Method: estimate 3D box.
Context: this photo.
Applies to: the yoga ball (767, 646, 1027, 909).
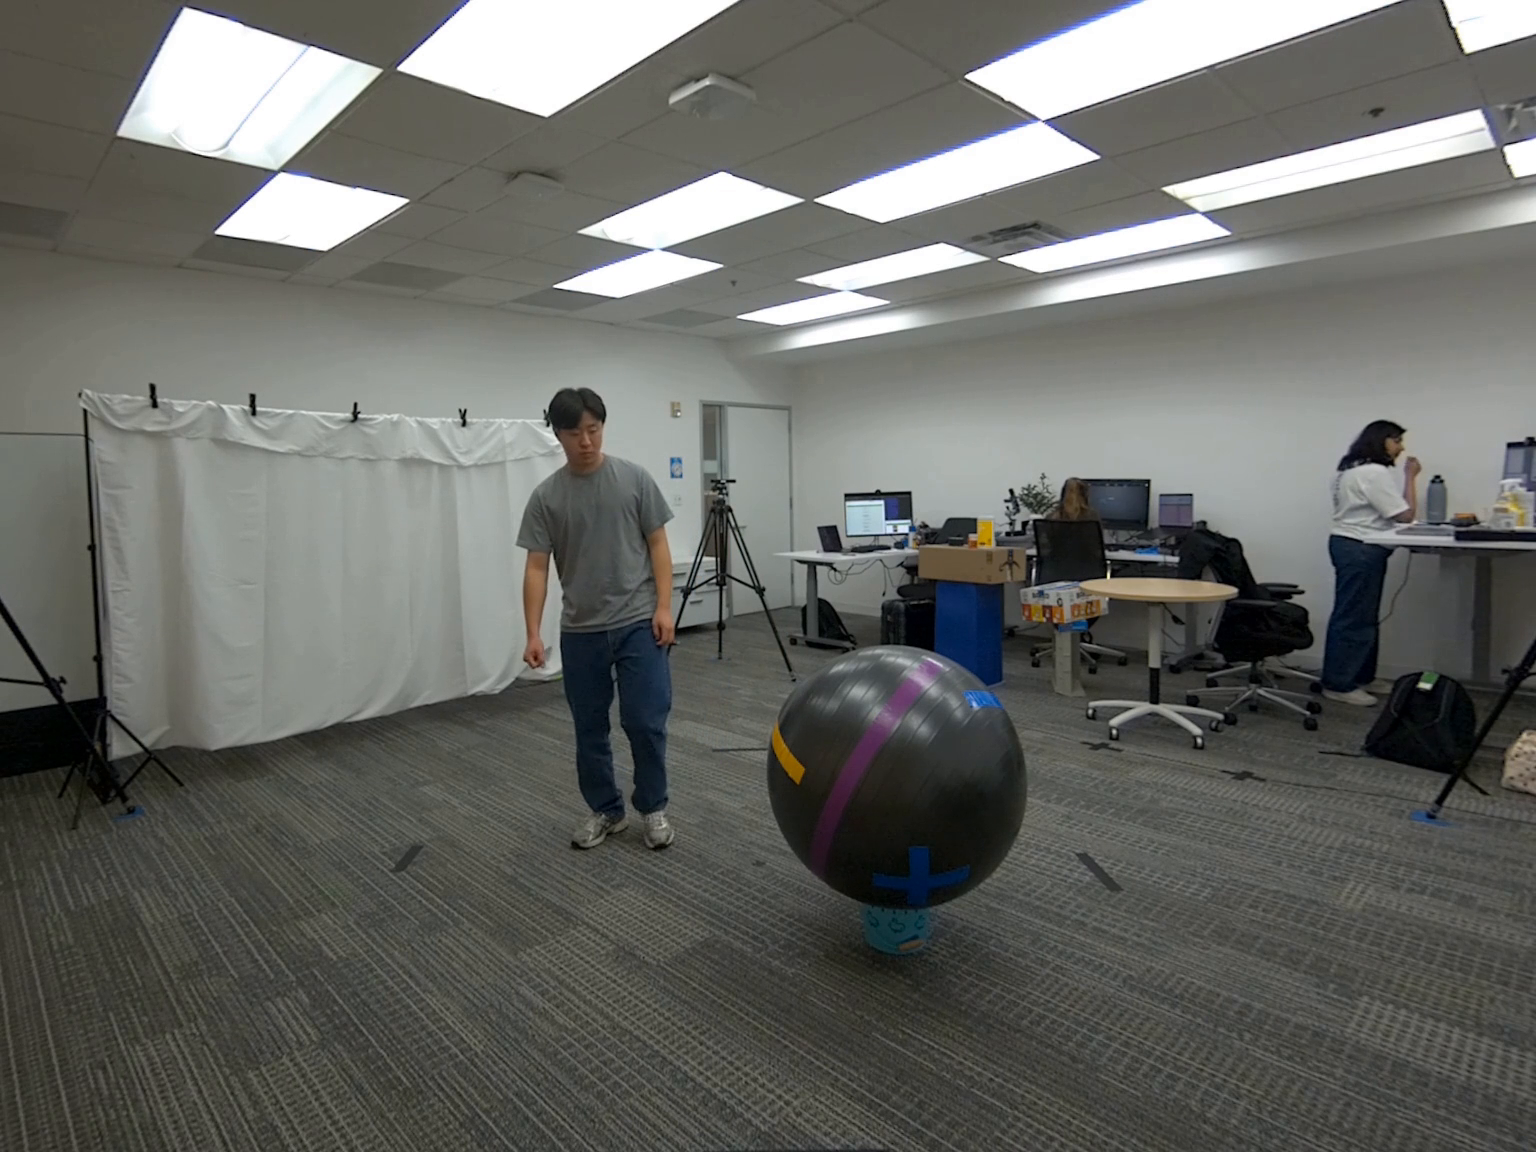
[{"bbox_3d":[0.382,0.590,2.556,0.757,0.755,0.762,-1,5,-2],"label":"yoga ball"}]
